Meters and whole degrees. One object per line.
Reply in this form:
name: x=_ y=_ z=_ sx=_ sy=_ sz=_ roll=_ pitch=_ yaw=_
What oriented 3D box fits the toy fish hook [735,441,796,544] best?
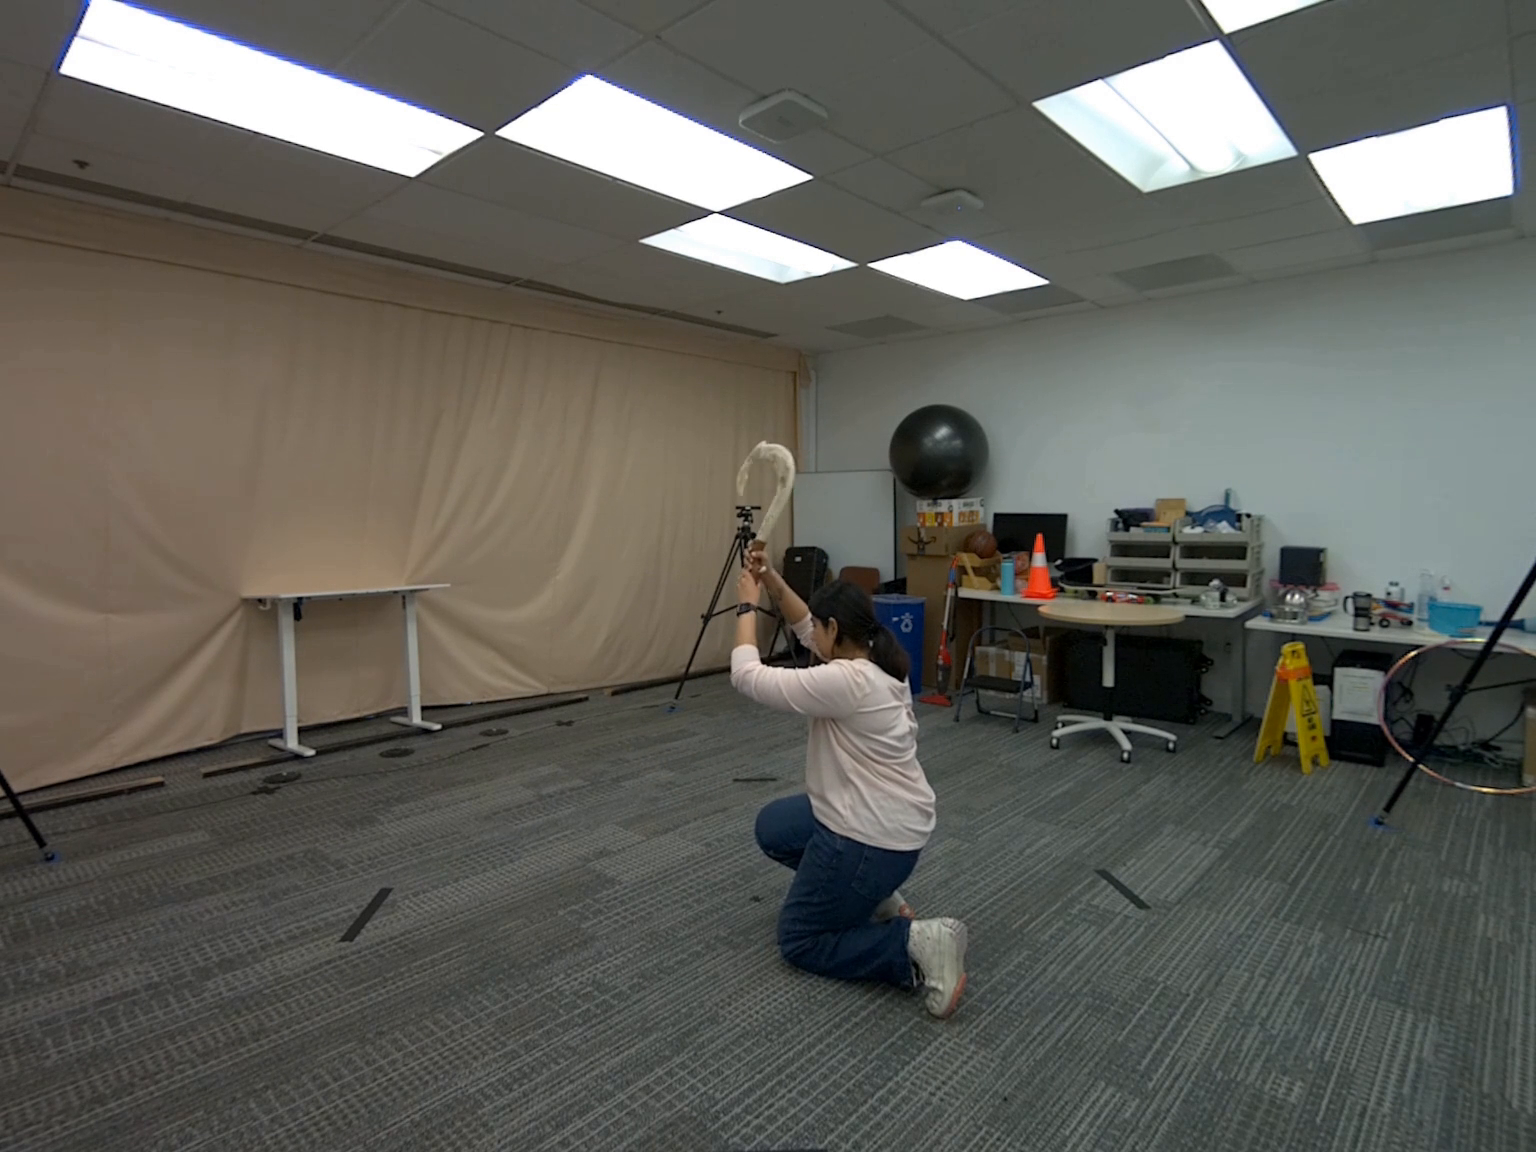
toy fish hook: x=-0.034 y=-0.169 z=2.716 sx=0.233 sy=0.506 sz=0.046 roll=20 pitch=7 yaw=43
